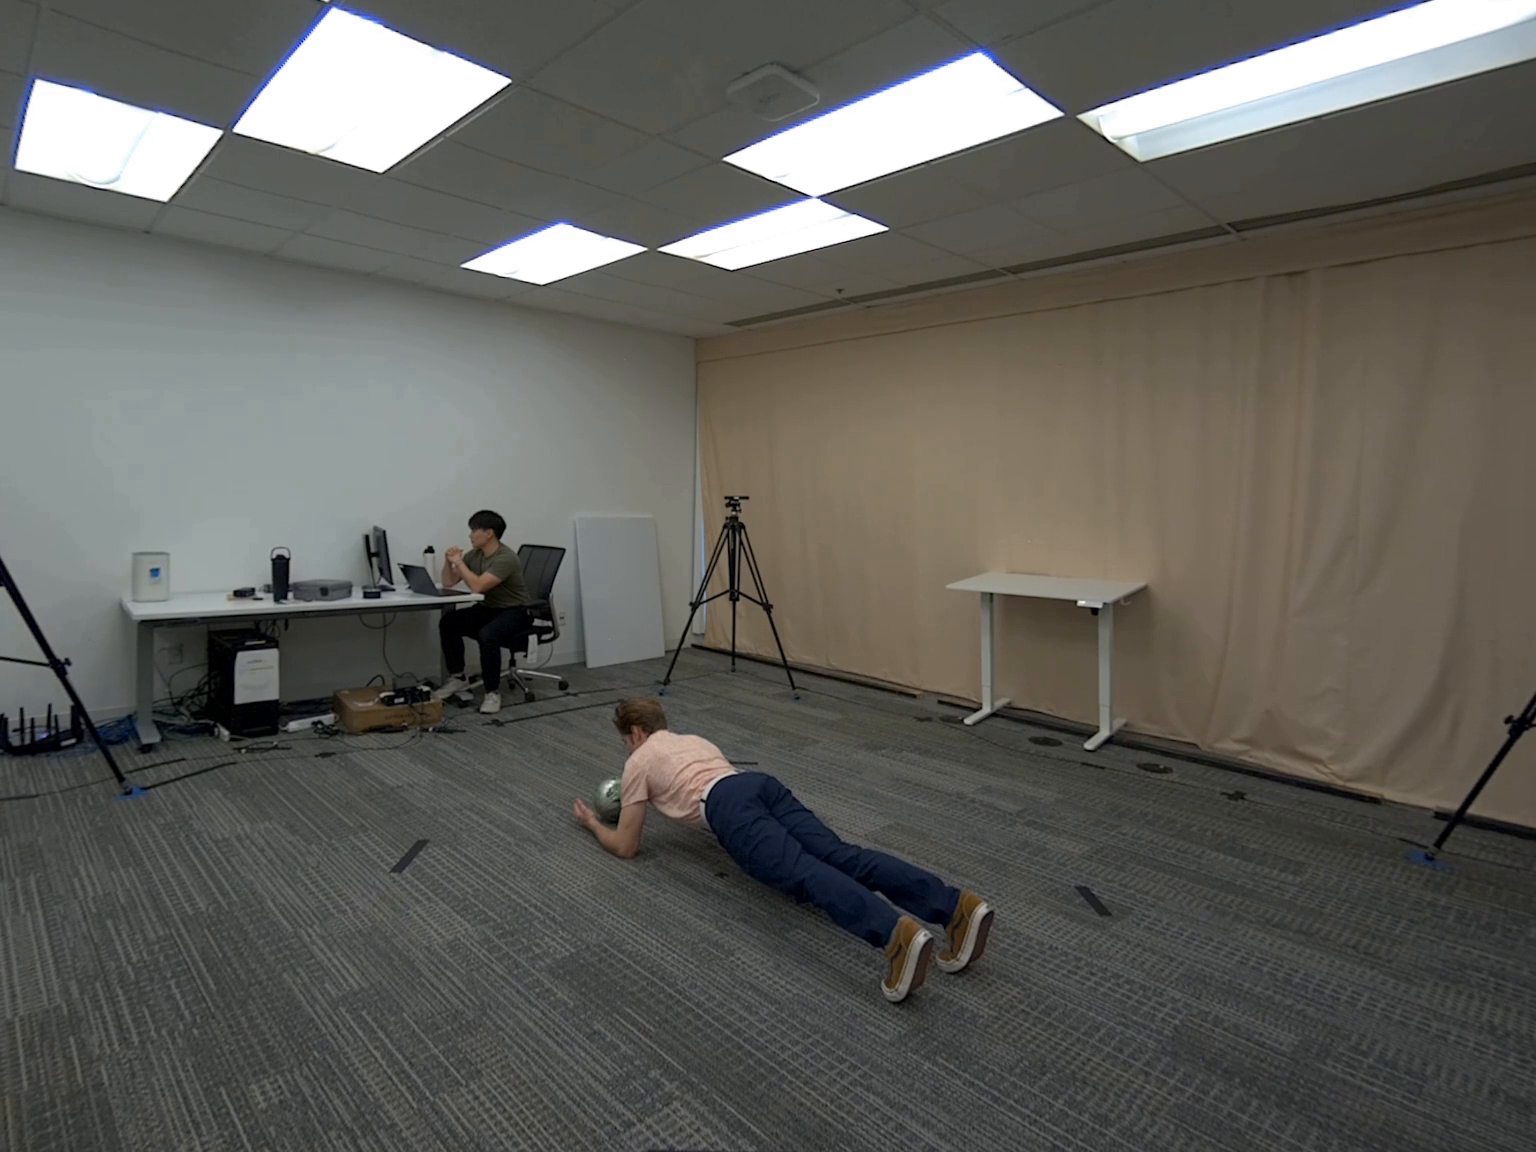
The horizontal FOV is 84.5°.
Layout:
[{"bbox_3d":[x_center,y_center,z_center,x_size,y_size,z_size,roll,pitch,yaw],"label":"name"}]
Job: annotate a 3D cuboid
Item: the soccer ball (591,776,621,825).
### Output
[{"bbox_3d":[-0.652,0.951,3.608,0.187,0.187,0.188,1,4,-1],"label":"soccer ball"}]
